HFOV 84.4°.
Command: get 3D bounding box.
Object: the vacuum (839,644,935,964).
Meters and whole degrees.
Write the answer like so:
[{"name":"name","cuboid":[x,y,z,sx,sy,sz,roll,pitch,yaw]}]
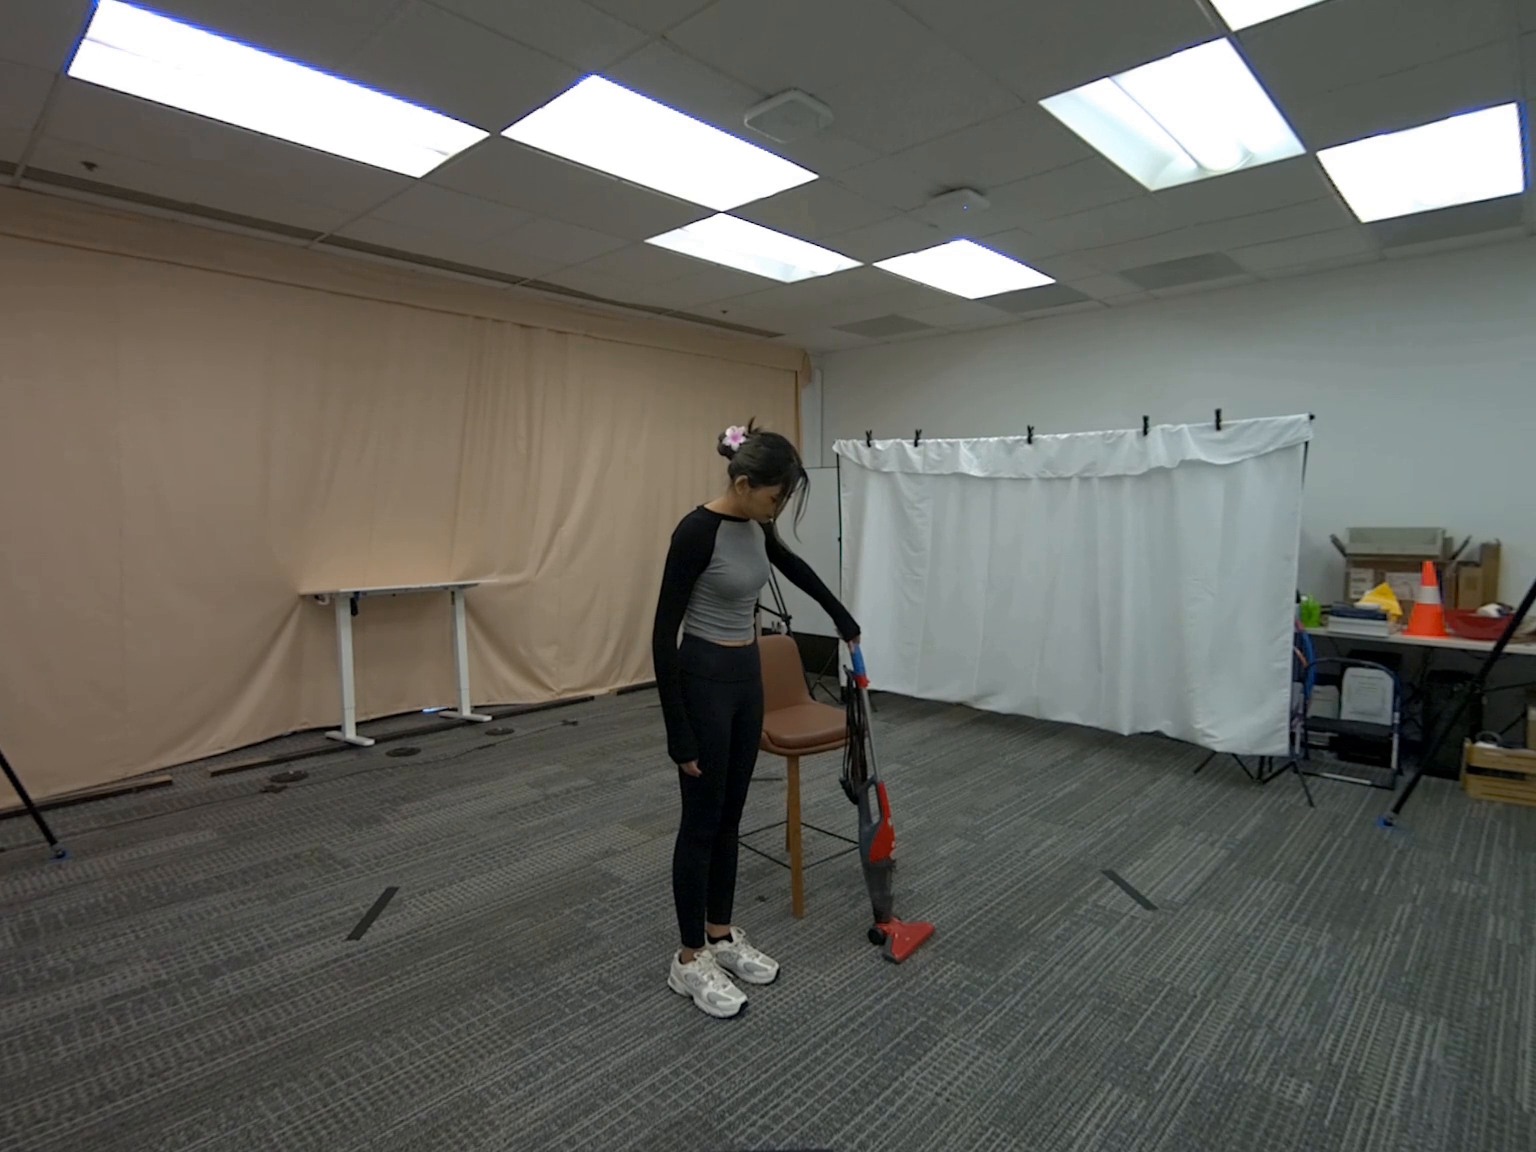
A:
[{"name":"vacuum","cuboid":[0.332,0.661,2.712,0.148,1.051,0.245,-12,-3,44]}]
